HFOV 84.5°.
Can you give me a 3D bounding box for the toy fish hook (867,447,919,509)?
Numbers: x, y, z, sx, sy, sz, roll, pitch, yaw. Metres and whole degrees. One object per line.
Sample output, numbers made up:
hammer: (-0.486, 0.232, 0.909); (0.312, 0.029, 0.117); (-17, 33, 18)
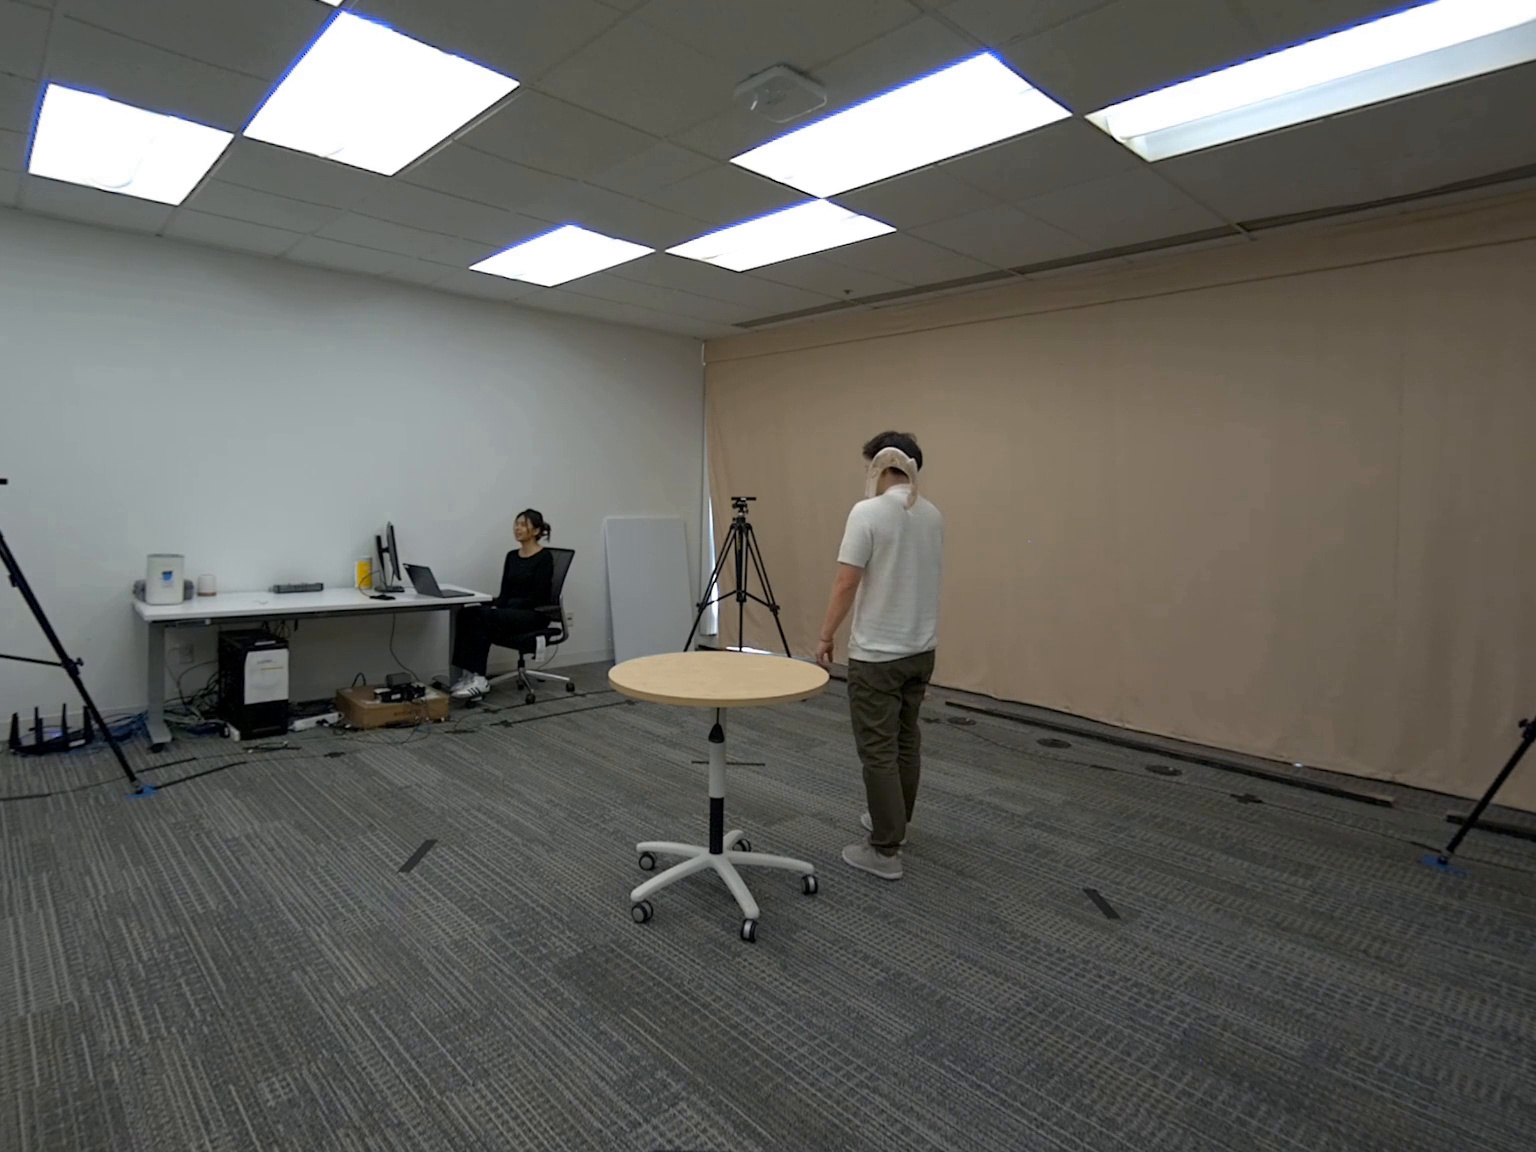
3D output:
toy fish hook: (0.444, -0.256, 3.262); (0.047, 0.499, 0.231); (-18, 46, -39)
